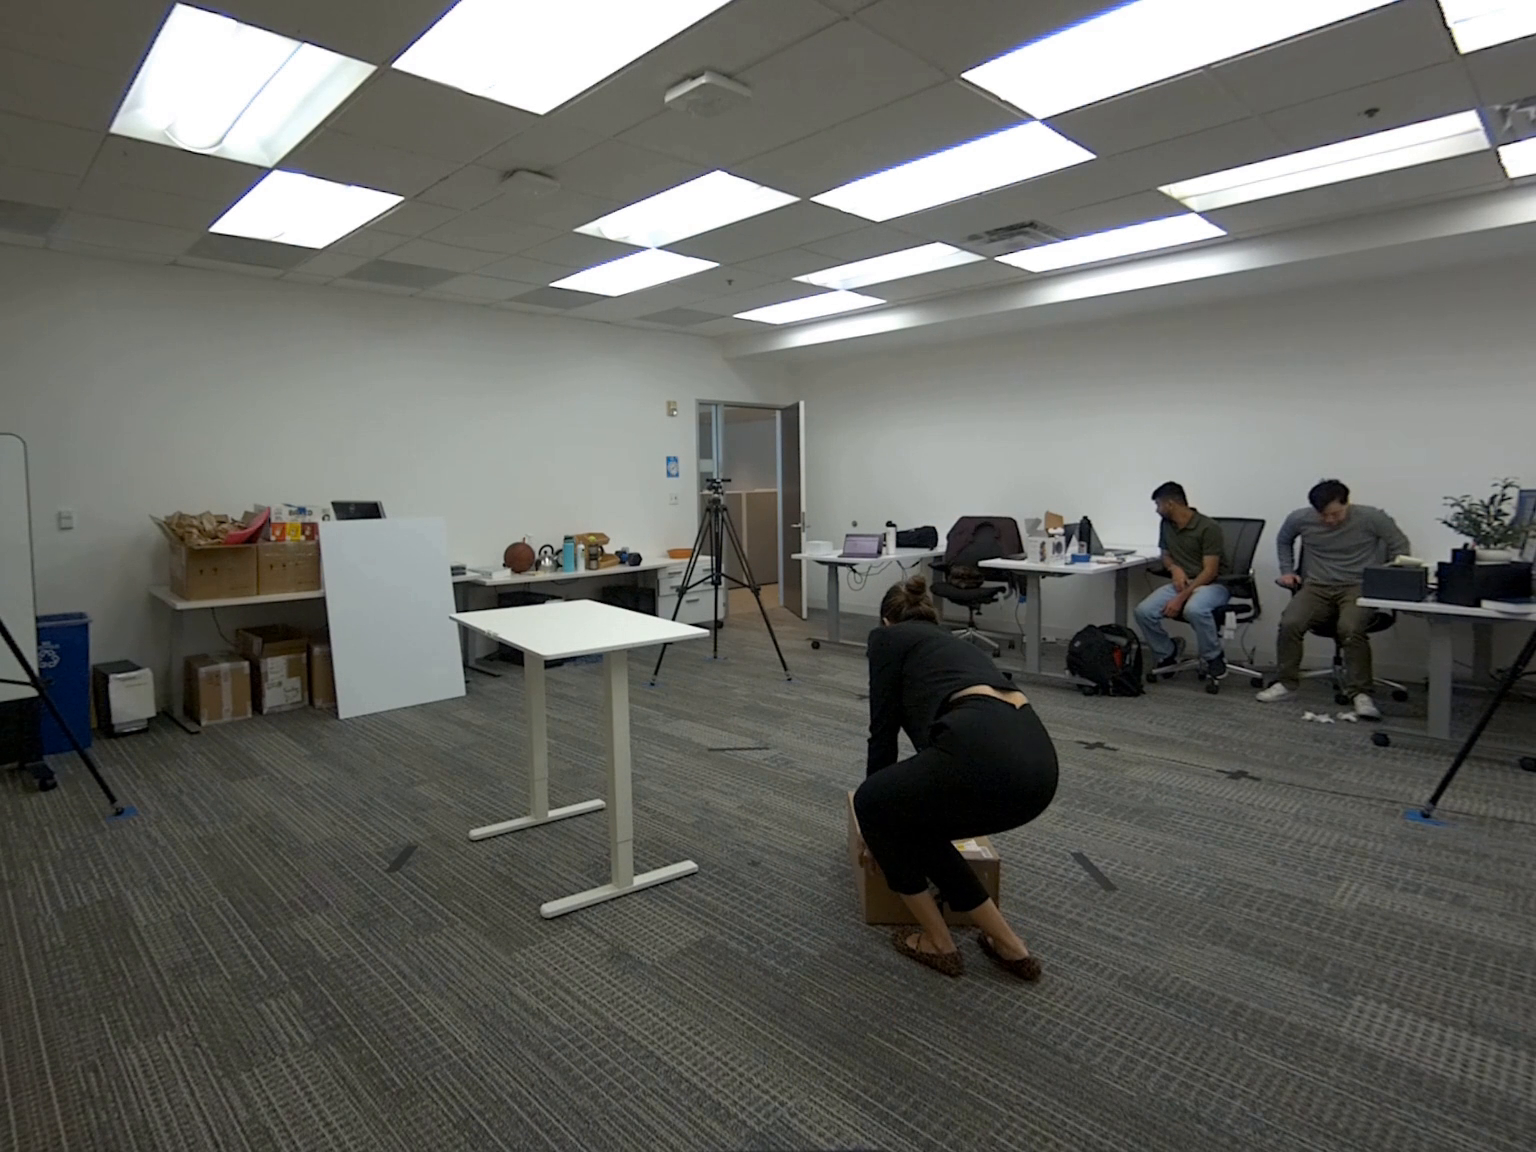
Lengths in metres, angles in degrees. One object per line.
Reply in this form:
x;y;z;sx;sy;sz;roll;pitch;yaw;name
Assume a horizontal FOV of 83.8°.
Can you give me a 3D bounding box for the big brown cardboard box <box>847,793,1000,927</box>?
0.515;0.944;2.925;0.418;0.232;0.591;-1;6;0;big brown cardboard box
